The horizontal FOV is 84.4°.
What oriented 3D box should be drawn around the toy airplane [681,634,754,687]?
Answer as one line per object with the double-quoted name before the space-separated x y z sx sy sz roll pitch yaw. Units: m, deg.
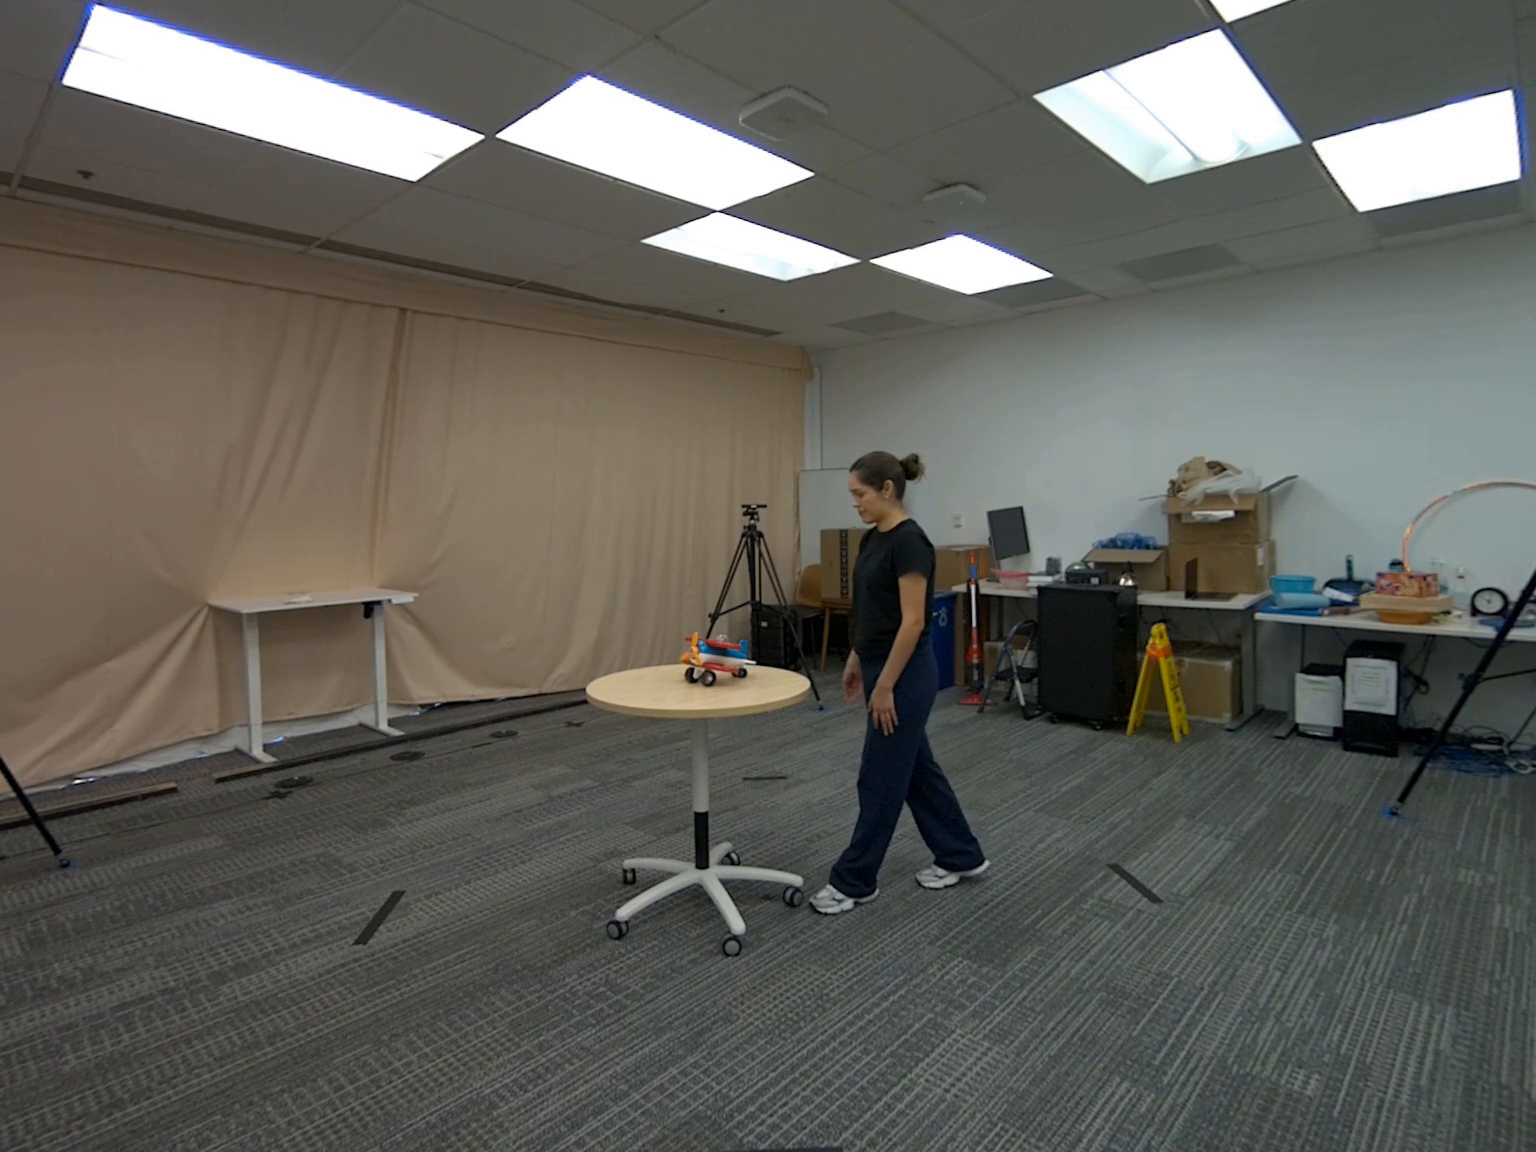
"toy airplane" -0.167 0.290 2.945 0.256 0.156 0.254 0 5 20
